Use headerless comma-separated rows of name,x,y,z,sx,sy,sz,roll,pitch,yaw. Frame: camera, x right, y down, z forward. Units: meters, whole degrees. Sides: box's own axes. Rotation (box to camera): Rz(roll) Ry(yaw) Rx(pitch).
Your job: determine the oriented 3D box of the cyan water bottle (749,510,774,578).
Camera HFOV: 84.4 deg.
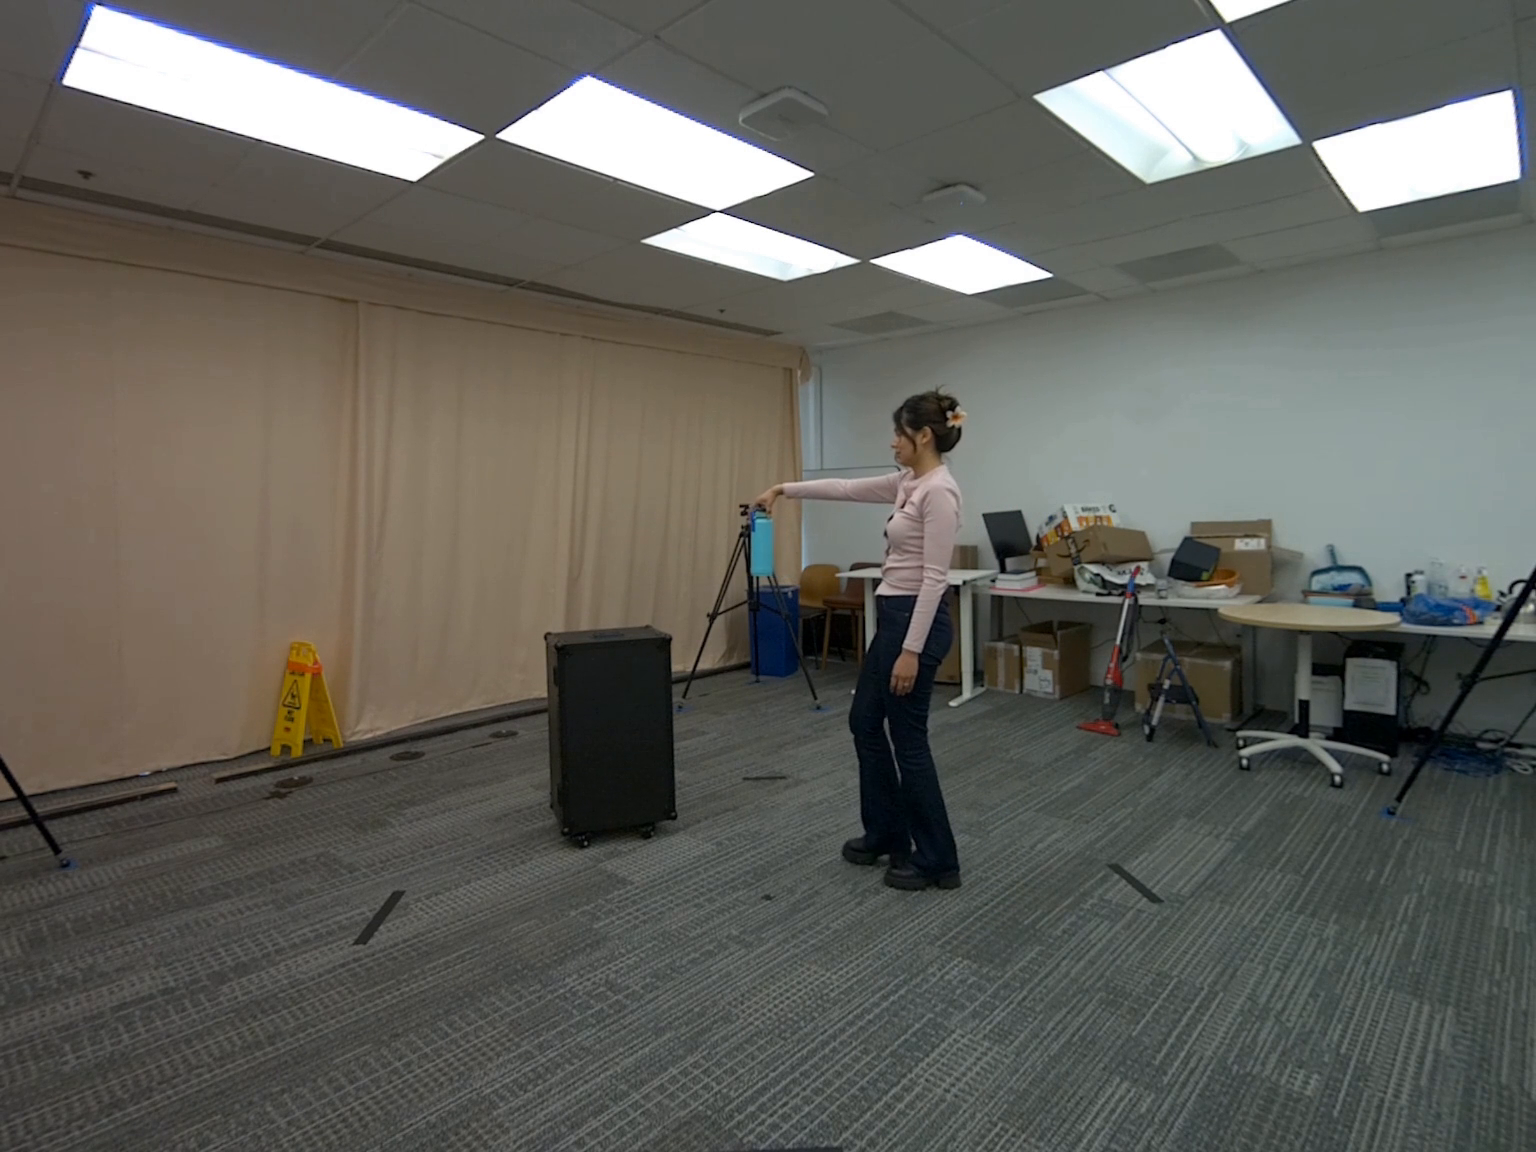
cyan water bottle,-0.021,-0.145,3.380,0.092,0.283,0.092,1,3,-2
